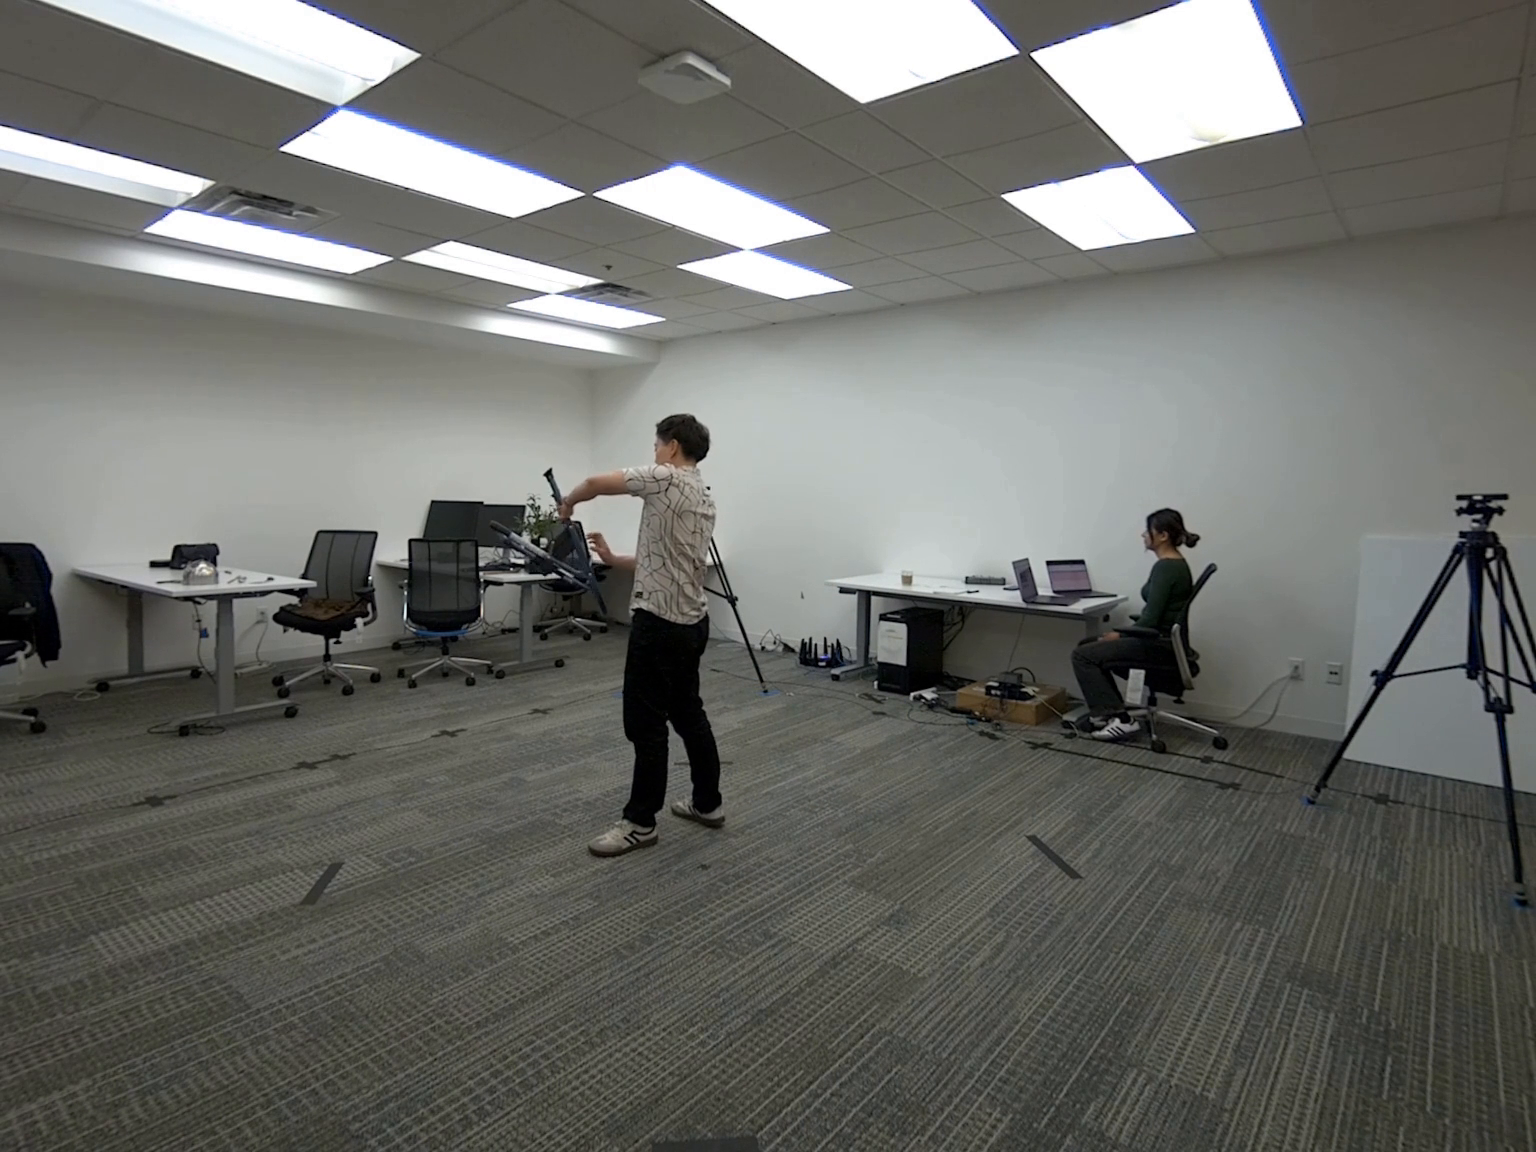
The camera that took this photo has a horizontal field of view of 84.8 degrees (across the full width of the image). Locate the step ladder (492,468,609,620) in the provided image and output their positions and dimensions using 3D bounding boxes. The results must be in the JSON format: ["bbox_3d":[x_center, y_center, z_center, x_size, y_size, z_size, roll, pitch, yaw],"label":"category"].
[{"bbox_3d":[-0.868,-0.096,3.695,0.349,0.609,0.429,-43,-2,-10],"label":"step ladder"}]
